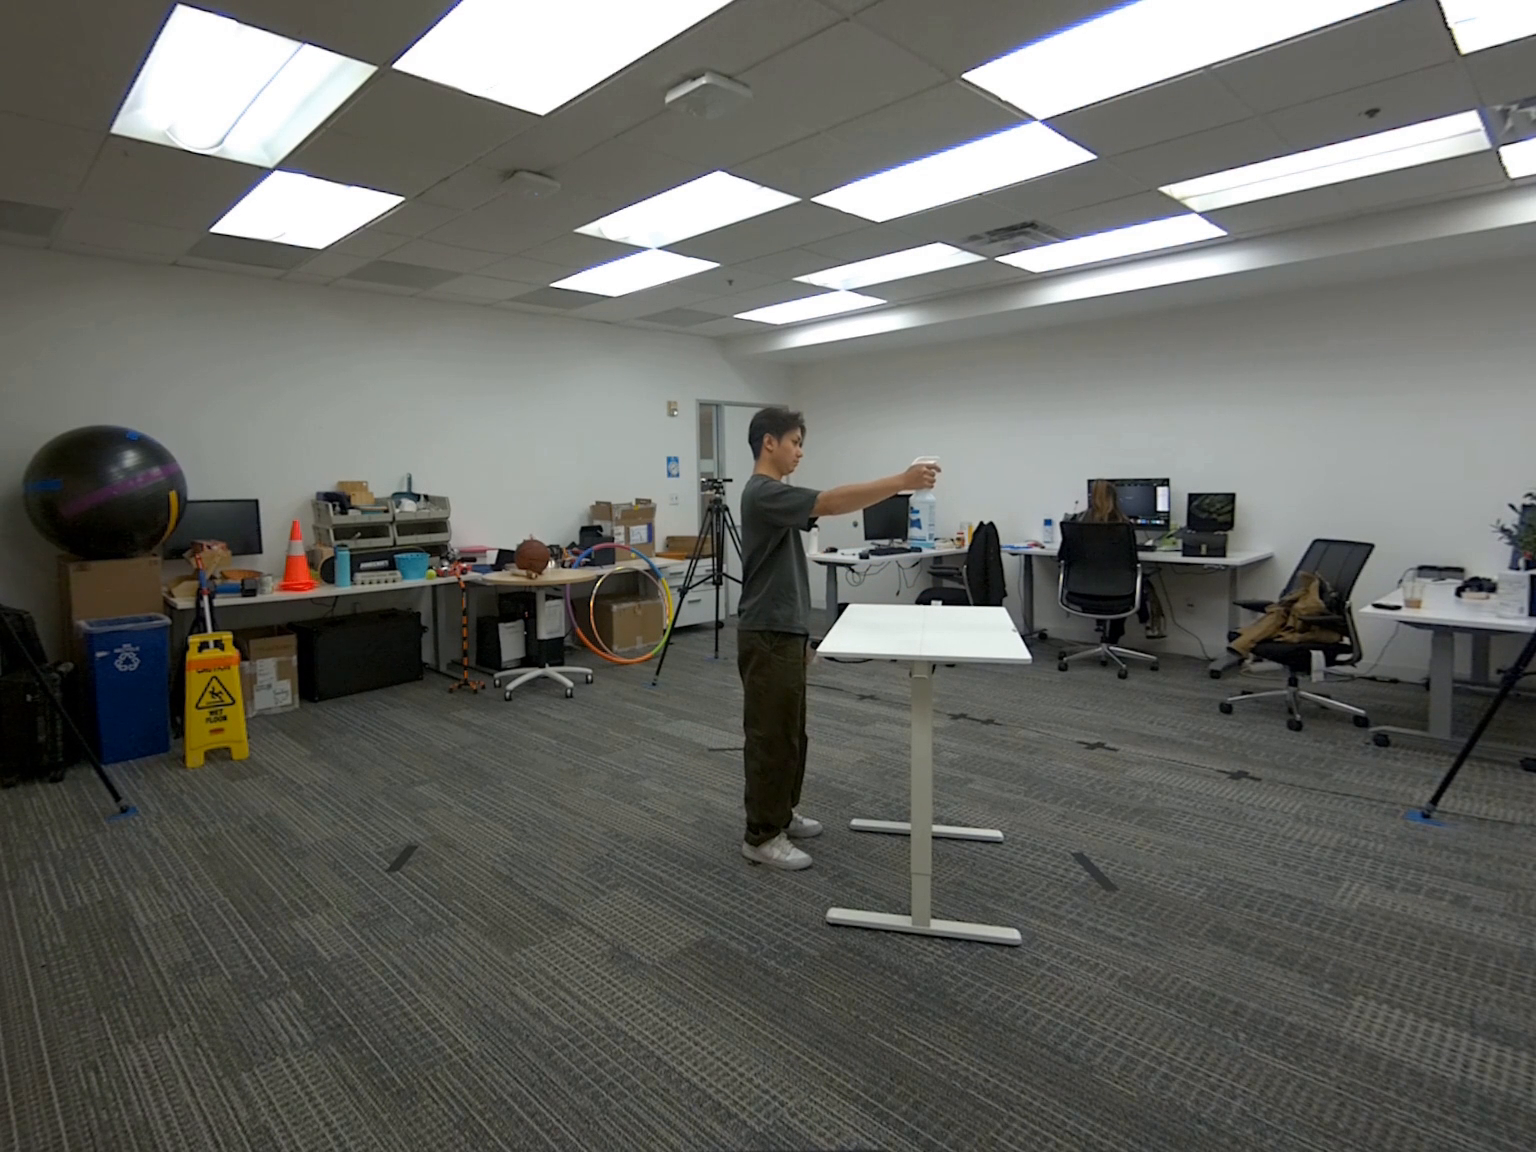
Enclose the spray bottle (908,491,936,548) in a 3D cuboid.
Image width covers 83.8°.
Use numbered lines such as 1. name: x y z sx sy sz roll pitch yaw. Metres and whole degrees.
1. spray bottle: 0.509 -0.243 2.824 0.092 0.296 0.085 3 5 22
